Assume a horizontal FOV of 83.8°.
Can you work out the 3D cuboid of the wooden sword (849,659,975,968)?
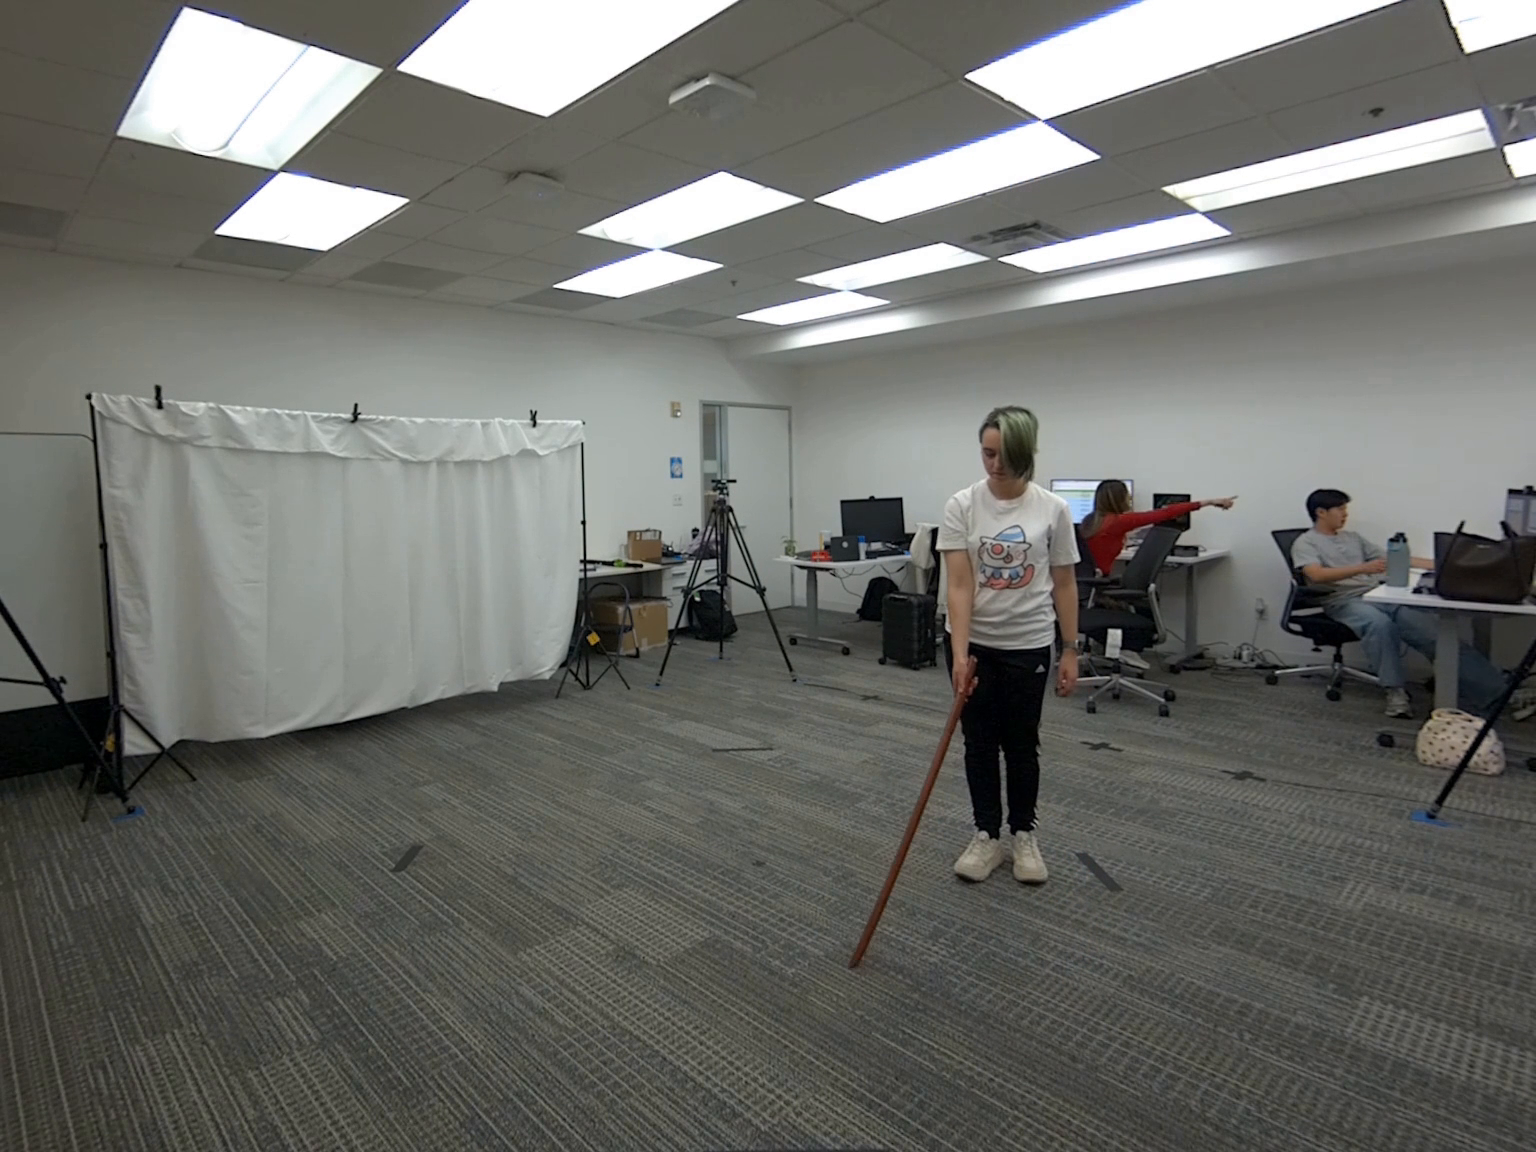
[{"bbox_3d":[0.484,0.704,2.640,0.053,1.032,0.023,14,-28,29],"label":"wooden sword"}]
